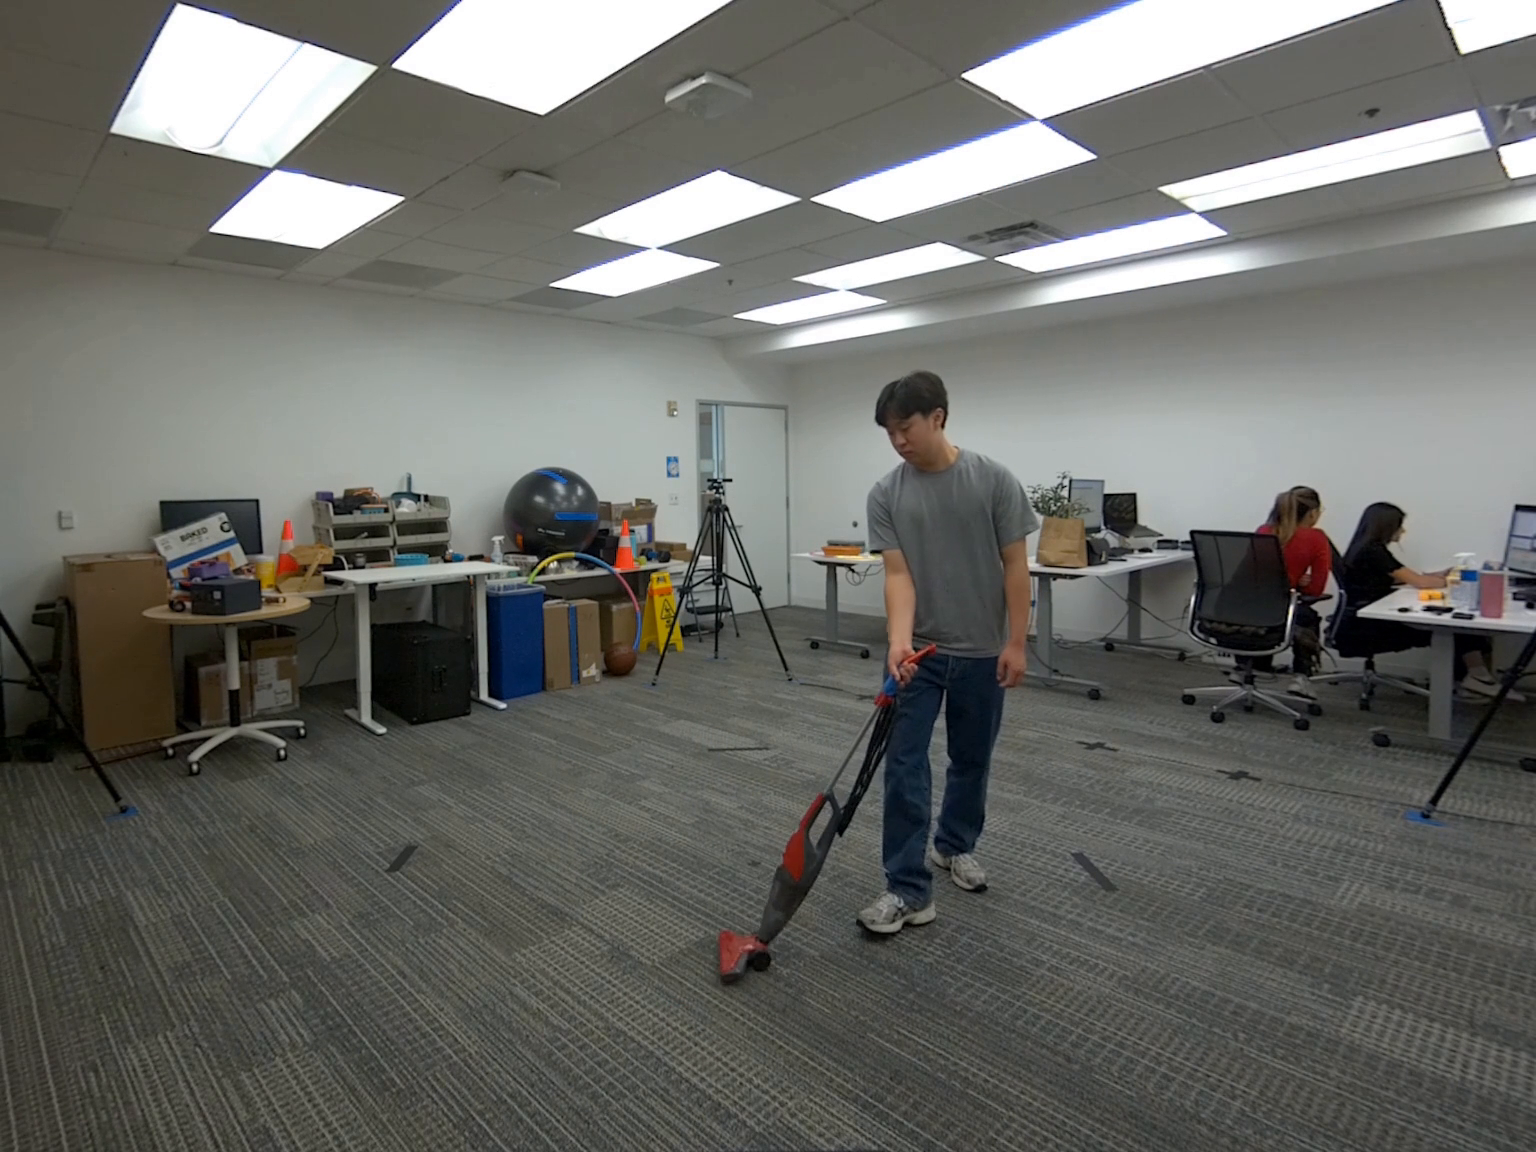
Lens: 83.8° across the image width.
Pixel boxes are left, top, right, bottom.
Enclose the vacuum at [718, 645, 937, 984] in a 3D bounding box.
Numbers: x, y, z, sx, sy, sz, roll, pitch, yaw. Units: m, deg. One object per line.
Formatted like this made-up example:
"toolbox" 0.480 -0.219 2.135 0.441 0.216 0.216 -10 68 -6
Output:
"vacuum" 0.212 0.666 2.499 0.143 1.050 0.255 32 -2 -8
